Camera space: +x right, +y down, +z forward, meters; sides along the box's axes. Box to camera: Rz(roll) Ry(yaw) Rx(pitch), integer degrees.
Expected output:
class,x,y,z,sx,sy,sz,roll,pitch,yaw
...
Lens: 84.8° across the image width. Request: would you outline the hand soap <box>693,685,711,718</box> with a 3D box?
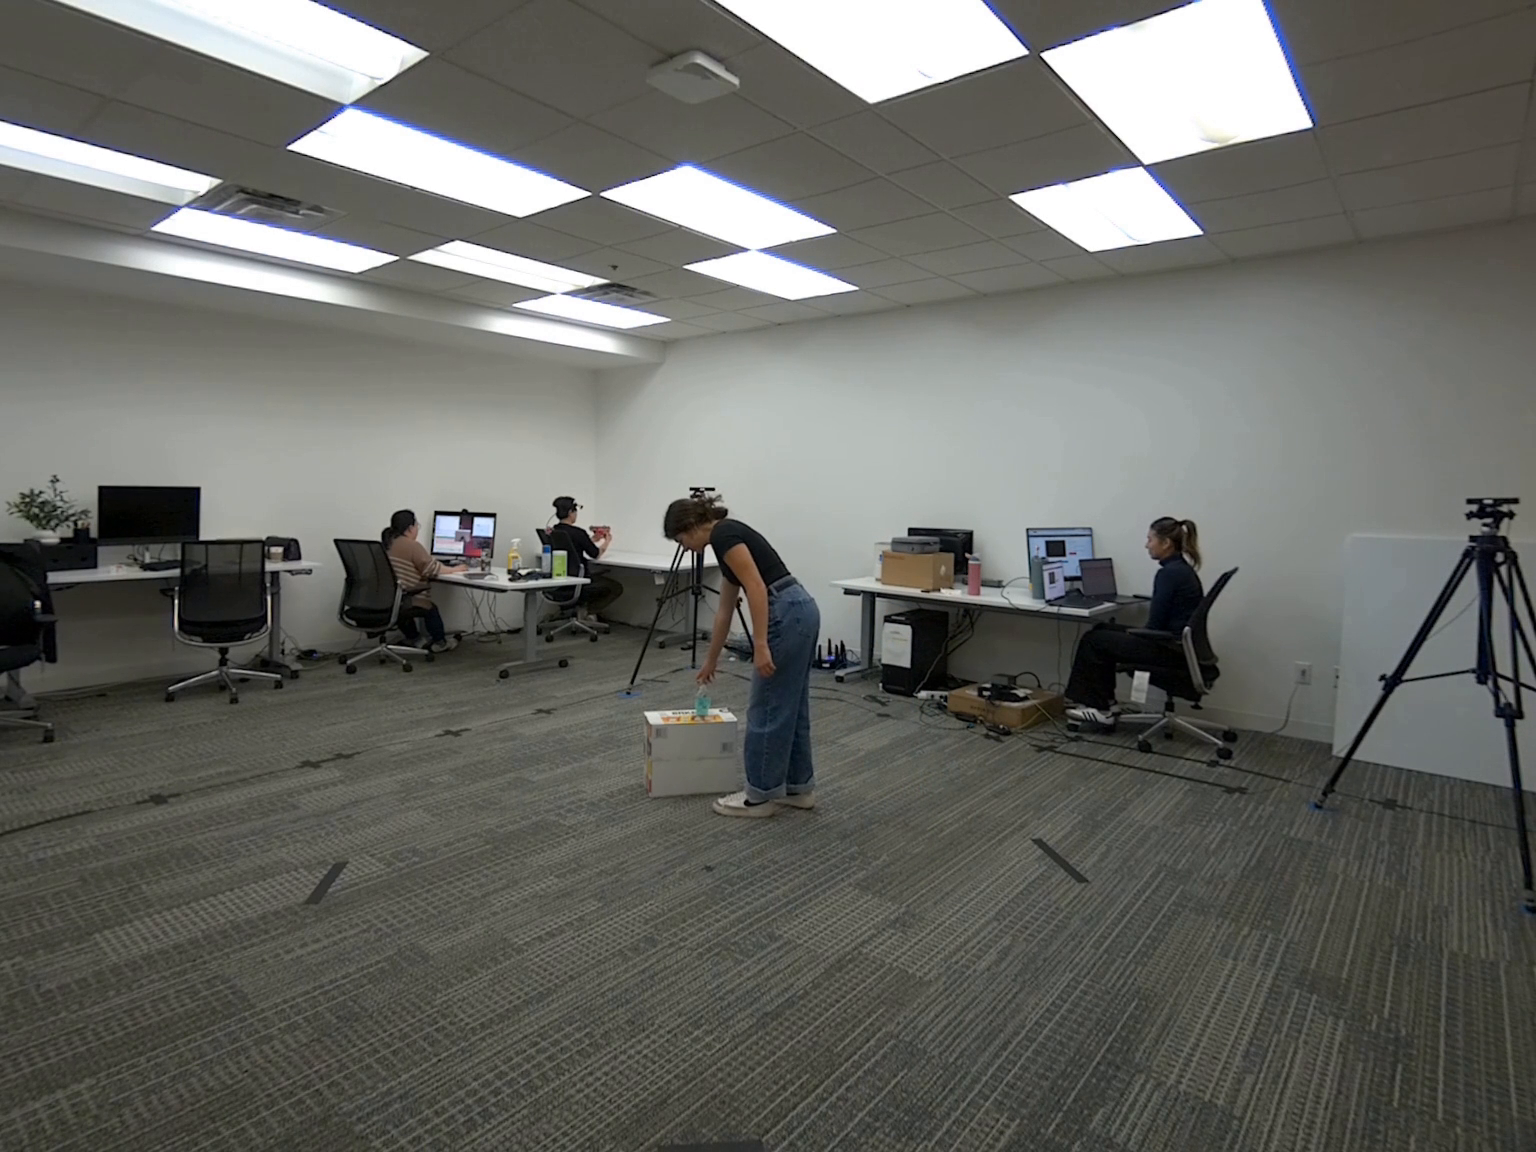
class,x,y,z,sx,sy,sz,roll,pitch,yaw
hand soap,-0.315,0.562,3.967,0.082,0.167,0.045,0,5,-31
